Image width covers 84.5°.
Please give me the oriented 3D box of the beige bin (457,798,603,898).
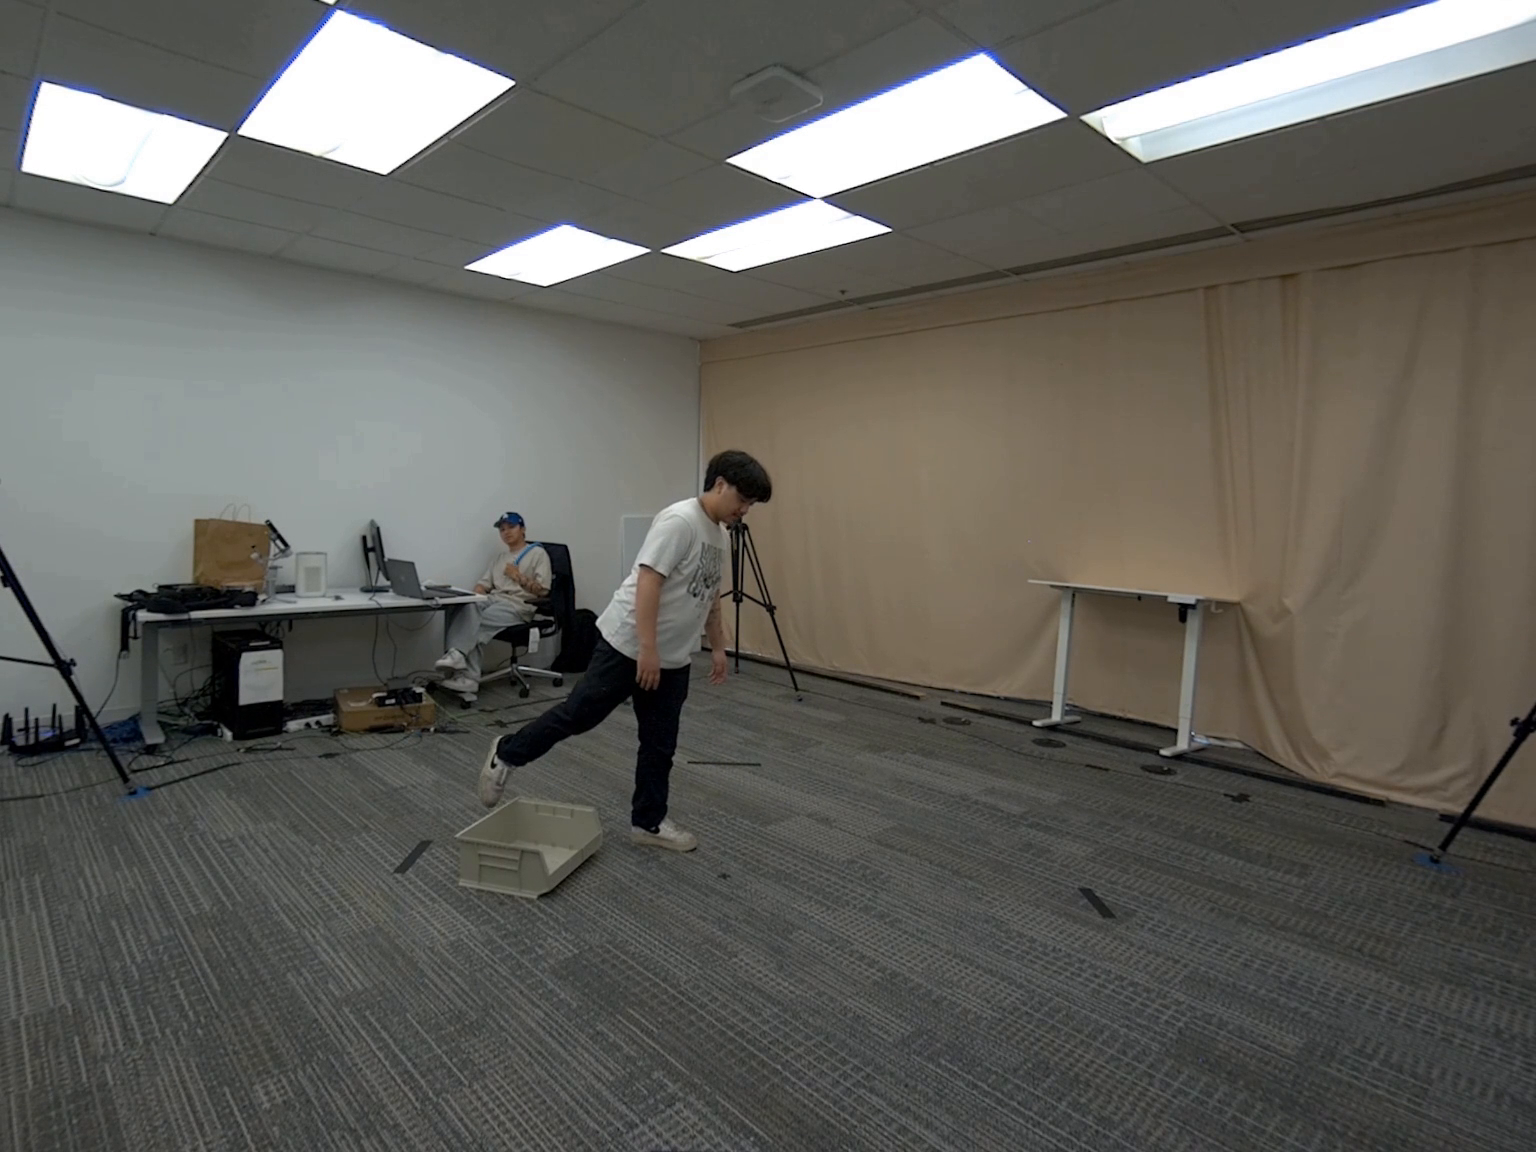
[{"bbox_3d":[-0.883,1.002,3.120,0.382,0.188,0.418,2,5,15],"label":"beige bin"}]
